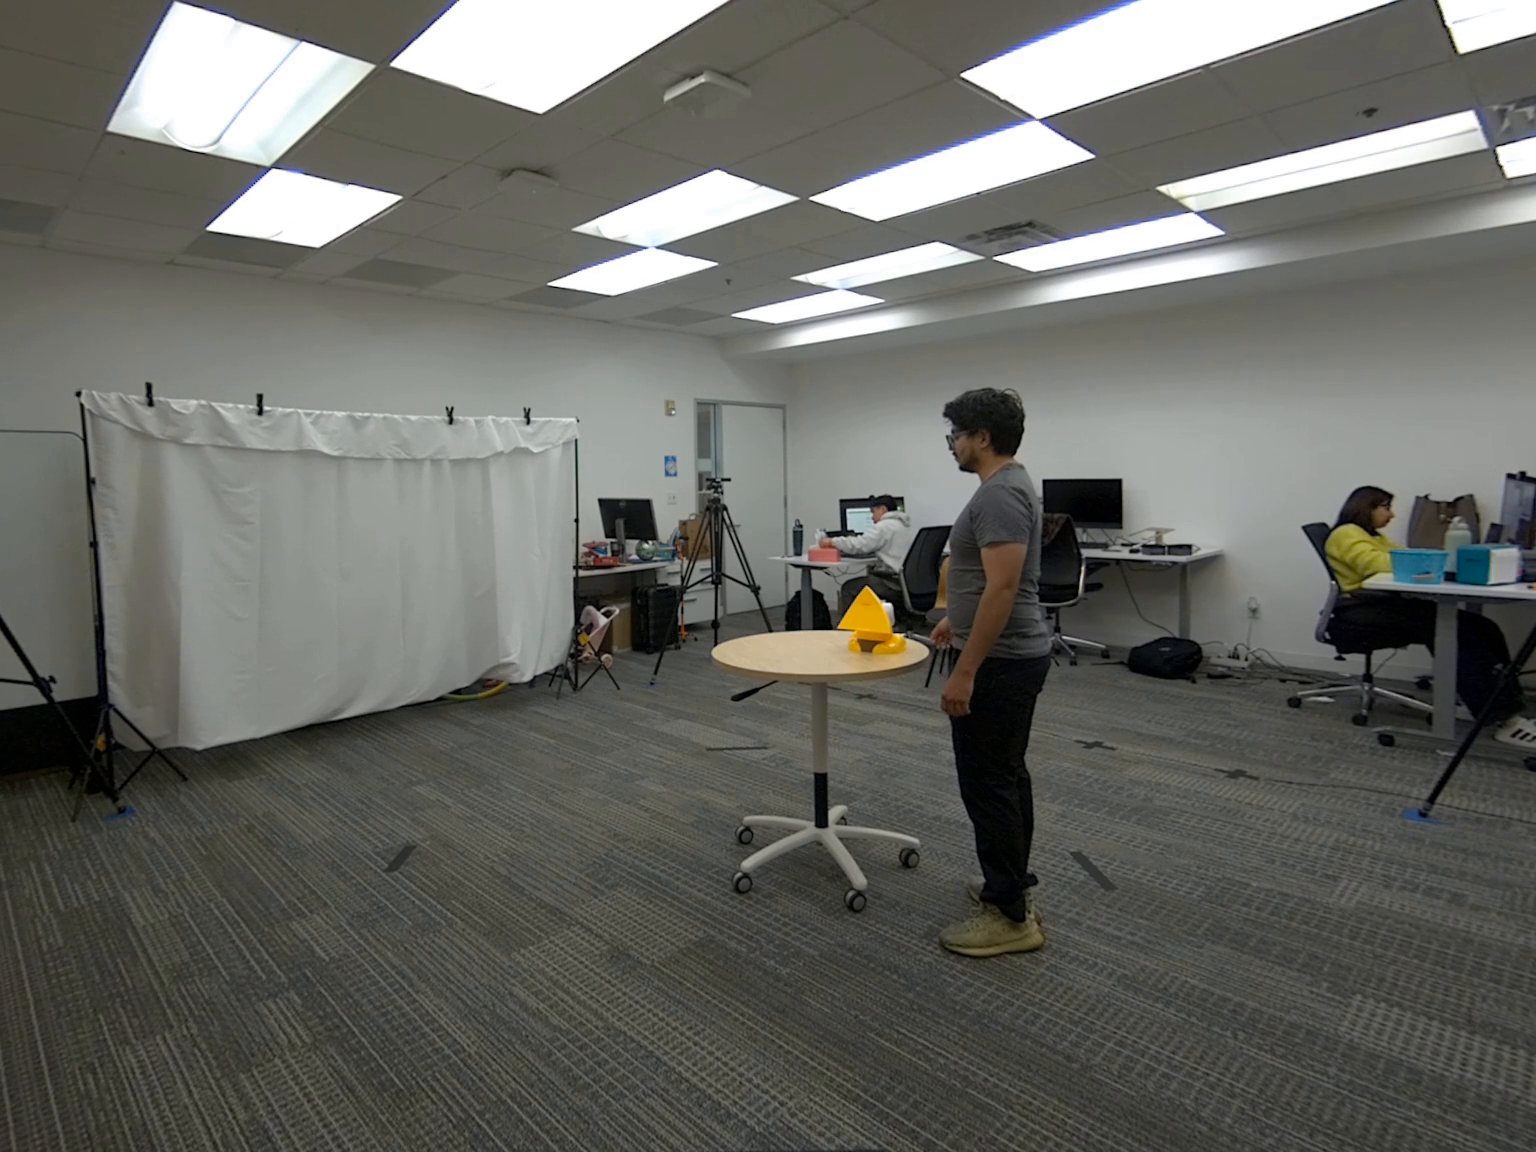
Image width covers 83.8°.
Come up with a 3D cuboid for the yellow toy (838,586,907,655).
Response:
[{"bbox_3d":[0.383,0.146,3.027,0.211,0.230,0.188,2,5,37],"label":"yellow toy"}]
